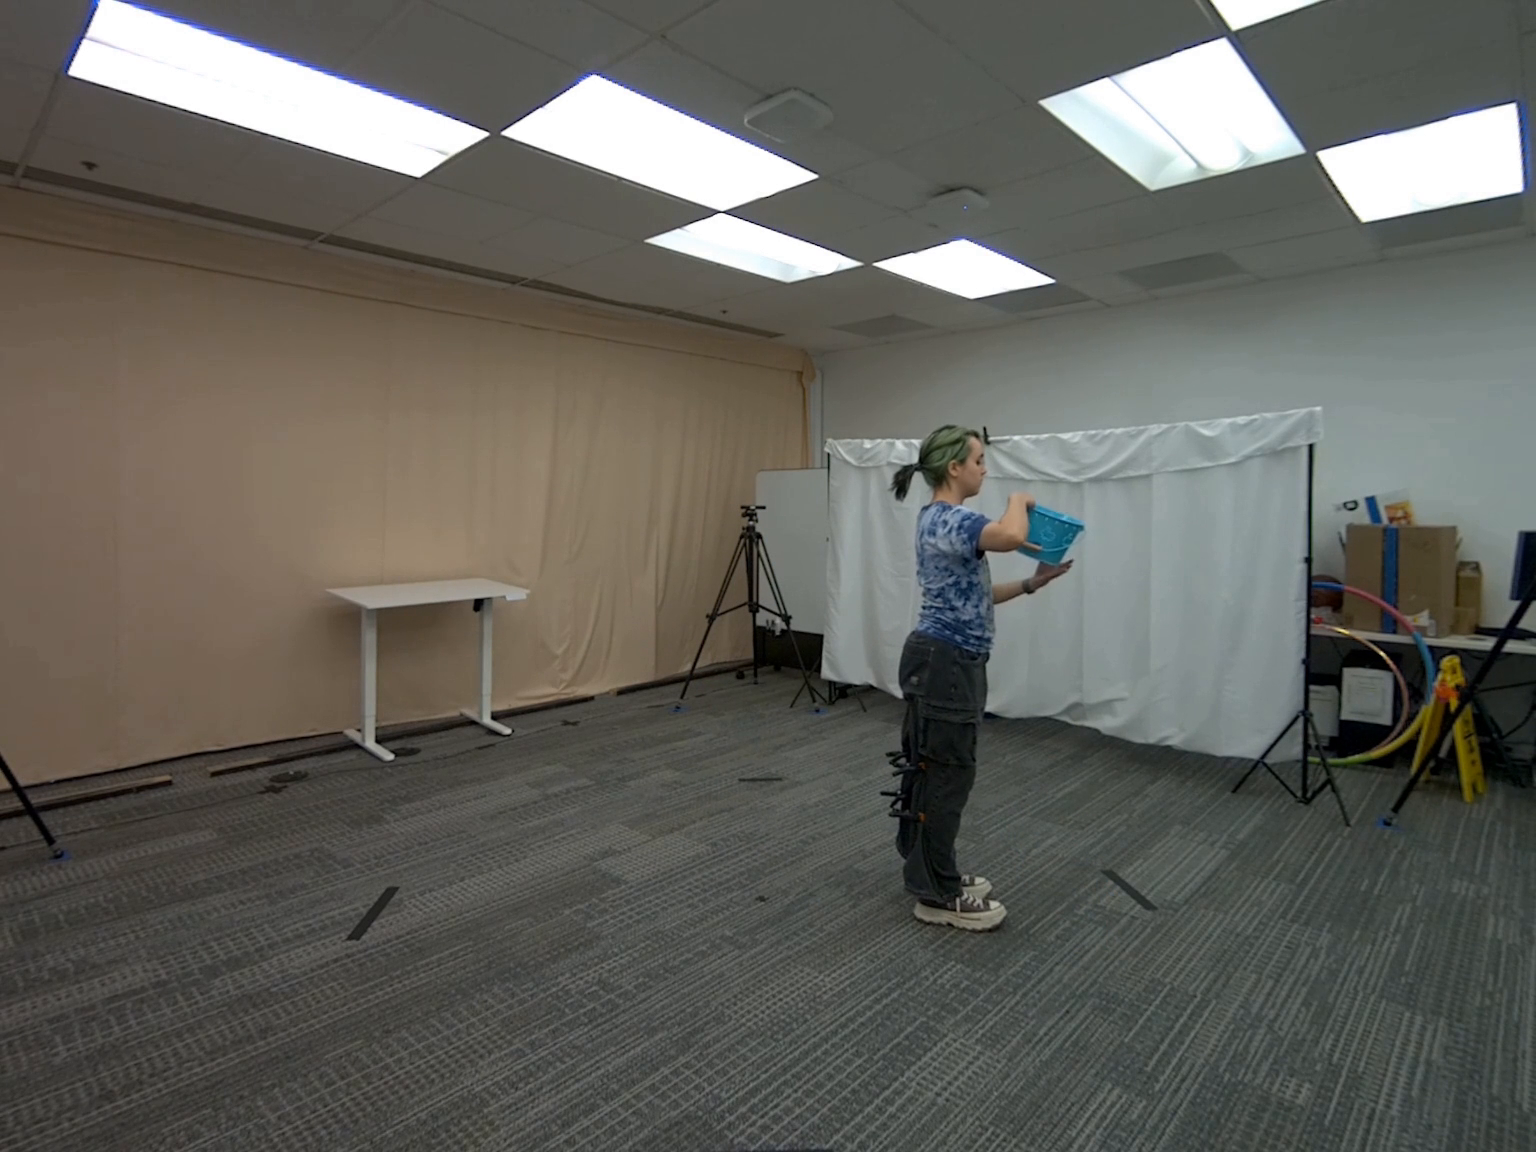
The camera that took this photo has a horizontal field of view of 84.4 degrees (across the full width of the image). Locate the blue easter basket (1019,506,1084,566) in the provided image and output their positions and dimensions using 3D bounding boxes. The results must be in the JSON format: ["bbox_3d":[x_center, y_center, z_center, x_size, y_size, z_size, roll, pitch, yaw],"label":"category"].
[{"bbox_3d":[0.918,-0.135,2.791,0.242,0.155,0.247,15,18,-7],"label":"blue easter basket"}]
